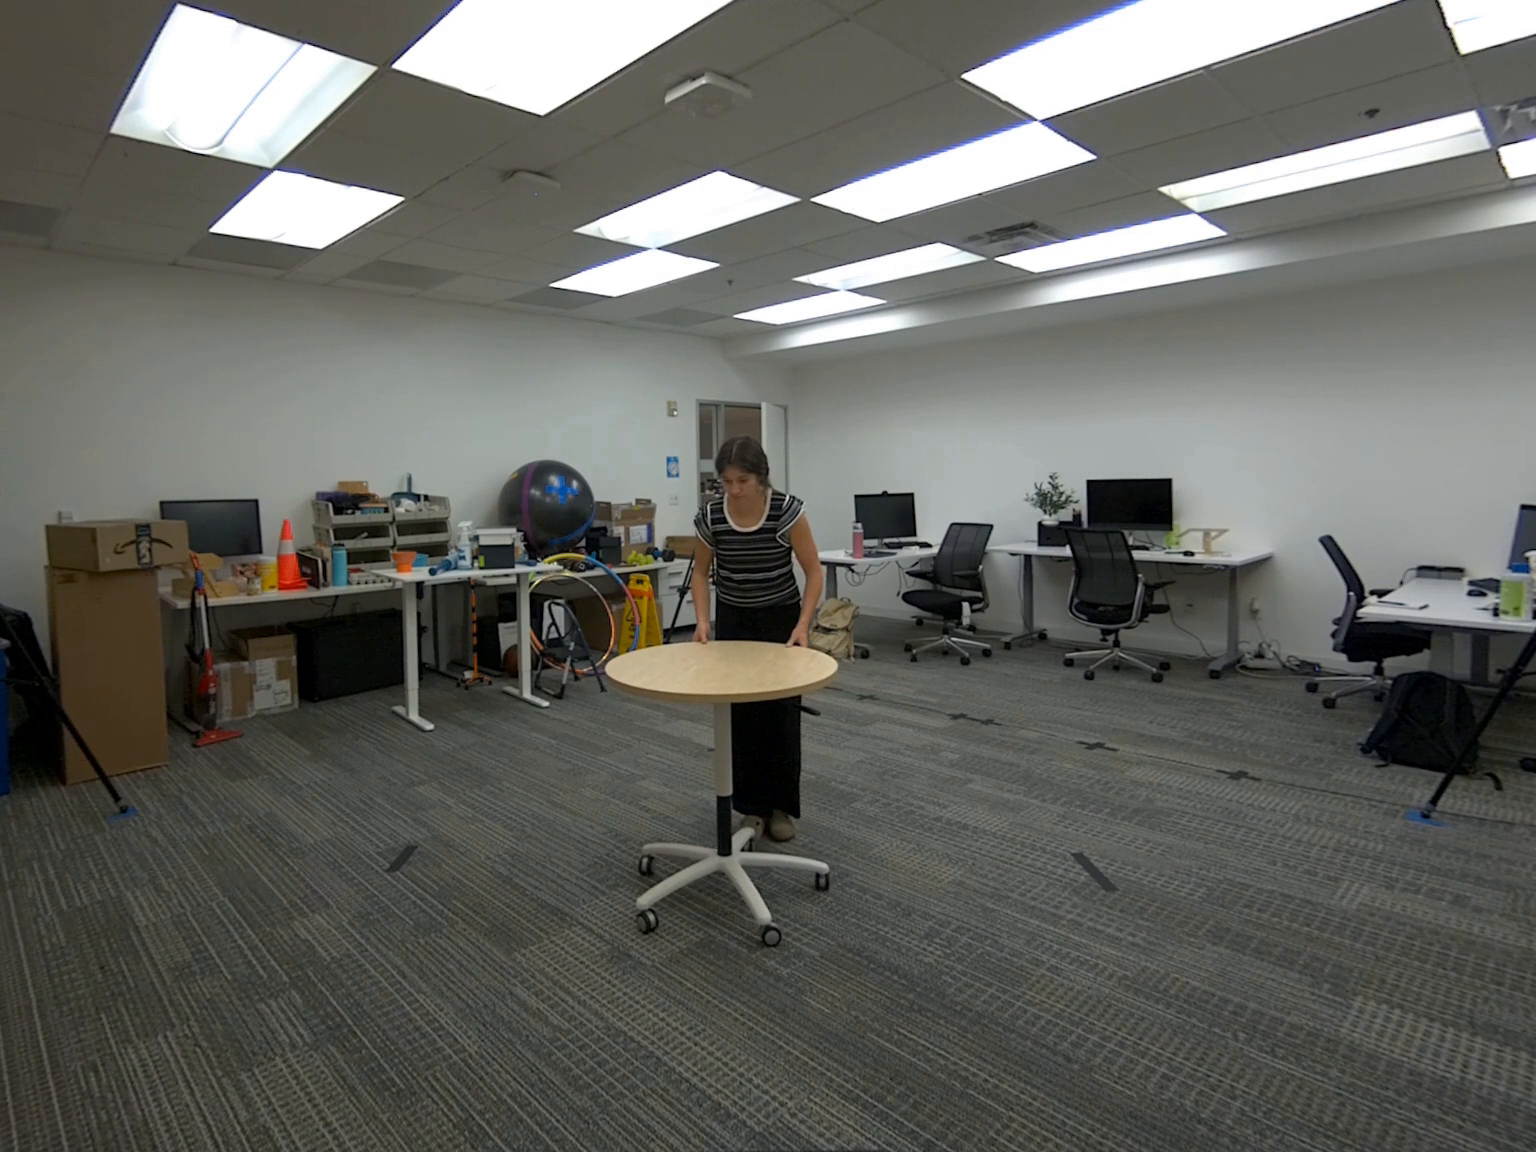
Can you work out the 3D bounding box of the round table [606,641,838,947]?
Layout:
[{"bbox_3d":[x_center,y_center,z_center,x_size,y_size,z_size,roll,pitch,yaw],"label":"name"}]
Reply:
[{"bbox_3d":[-0.160,0.683,2.838,0.784,0.783,0.789,-1,5,-2],"label":"round table"}]
